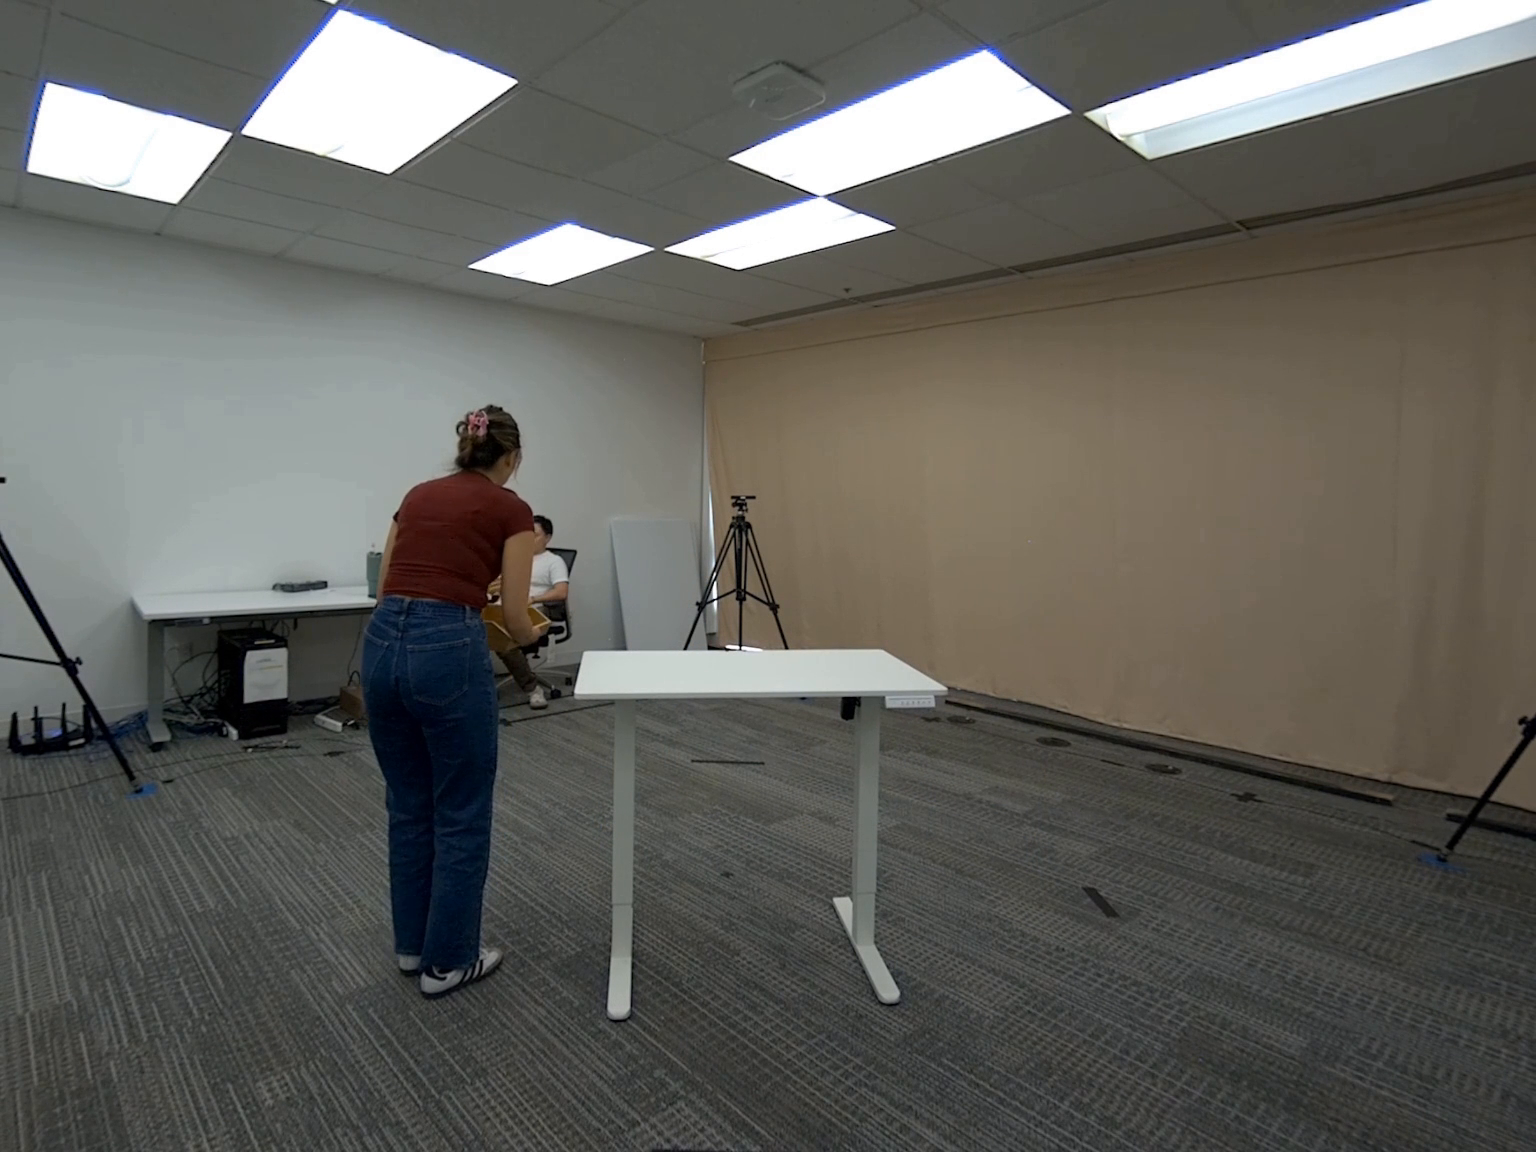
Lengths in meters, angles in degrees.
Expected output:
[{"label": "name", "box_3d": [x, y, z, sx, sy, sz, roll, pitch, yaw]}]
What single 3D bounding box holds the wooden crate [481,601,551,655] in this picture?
[{"label": "wooden crate", "box_3d": [-0.903, 0.081, 2.748, 0.305, 0.272, 0.323, 4, 6, 11]}]
